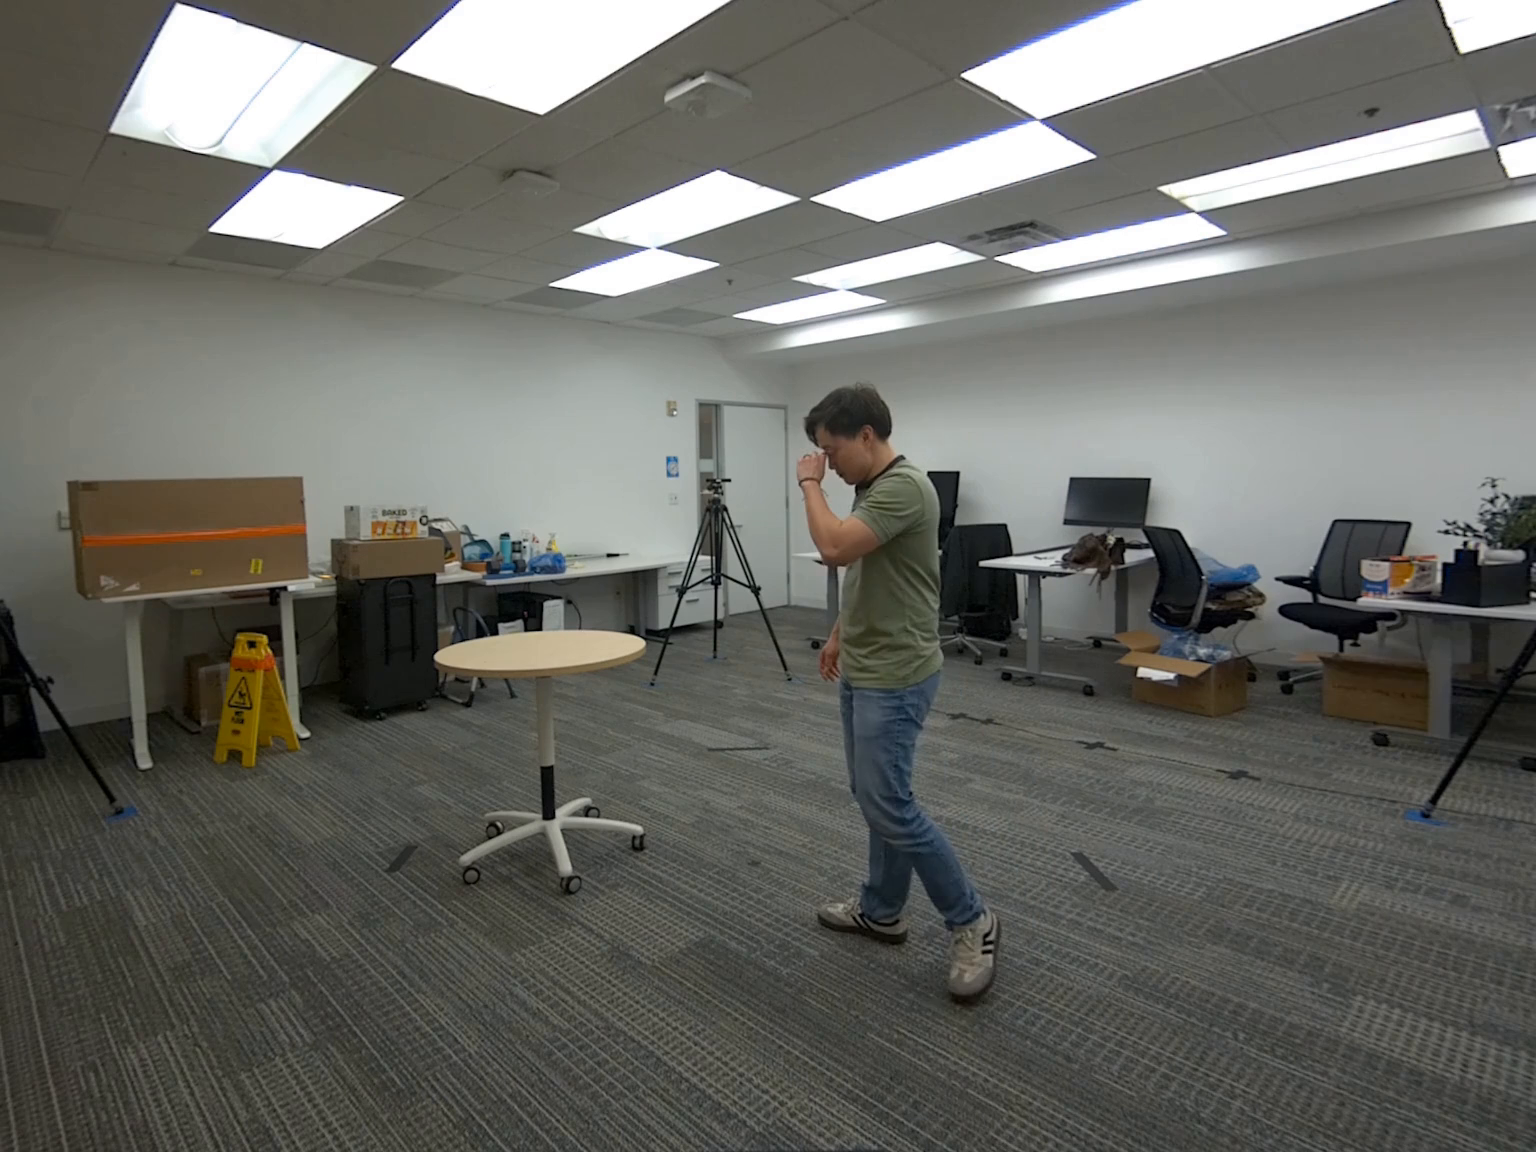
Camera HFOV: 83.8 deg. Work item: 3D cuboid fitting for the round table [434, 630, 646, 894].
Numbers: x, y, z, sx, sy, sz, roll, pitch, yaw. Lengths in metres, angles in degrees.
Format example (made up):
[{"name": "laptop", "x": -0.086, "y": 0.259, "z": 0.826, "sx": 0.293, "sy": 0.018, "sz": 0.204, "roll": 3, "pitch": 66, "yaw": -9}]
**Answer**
[{"name": "round table", "x": -0.820, "y": 0.659, "z": 3.186, "sx": 0.763, "sy": 0.791, "sz": 0.767, "roll": -2, "pitch": 4, "yaw": -2}]
